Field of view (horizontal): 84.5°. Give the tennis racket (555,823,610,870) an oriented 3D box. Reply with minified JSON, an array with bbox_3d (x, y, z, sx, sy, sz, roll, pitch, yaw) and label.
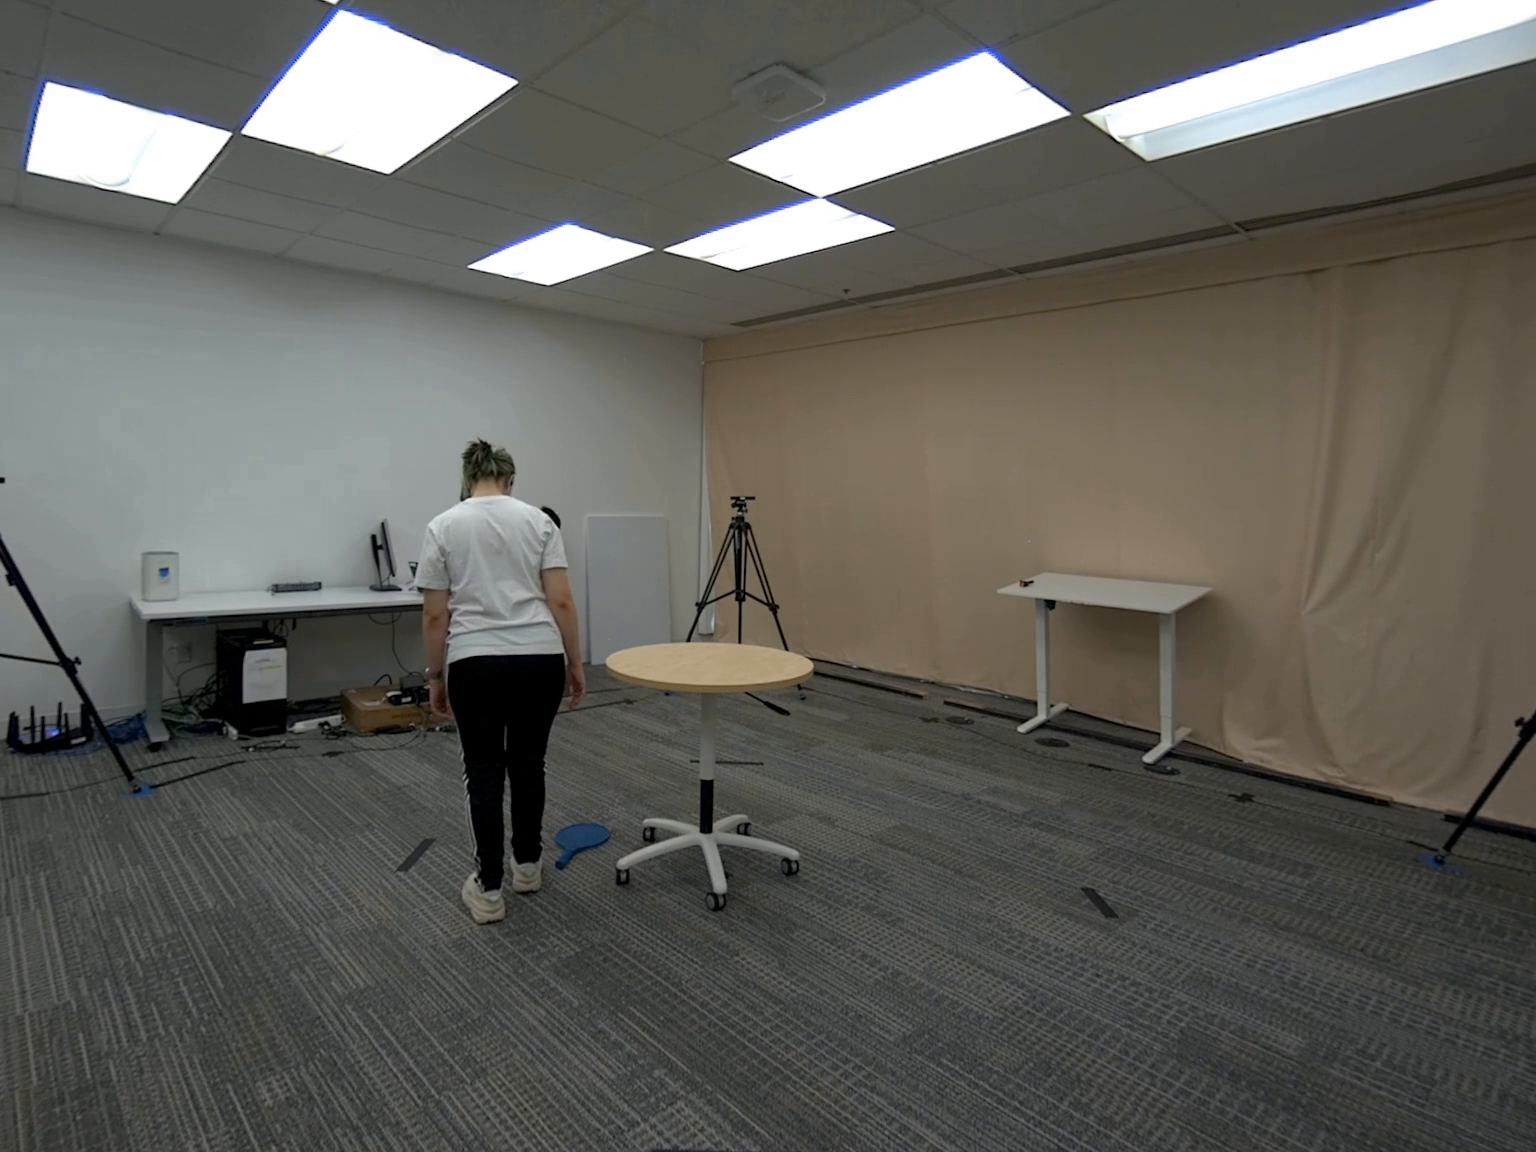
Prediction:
[{"bbox_3d":[-0.755,1.052,3.328,0.214,0.032,0.432,2,4,4],"label":"tennis racket"}]
